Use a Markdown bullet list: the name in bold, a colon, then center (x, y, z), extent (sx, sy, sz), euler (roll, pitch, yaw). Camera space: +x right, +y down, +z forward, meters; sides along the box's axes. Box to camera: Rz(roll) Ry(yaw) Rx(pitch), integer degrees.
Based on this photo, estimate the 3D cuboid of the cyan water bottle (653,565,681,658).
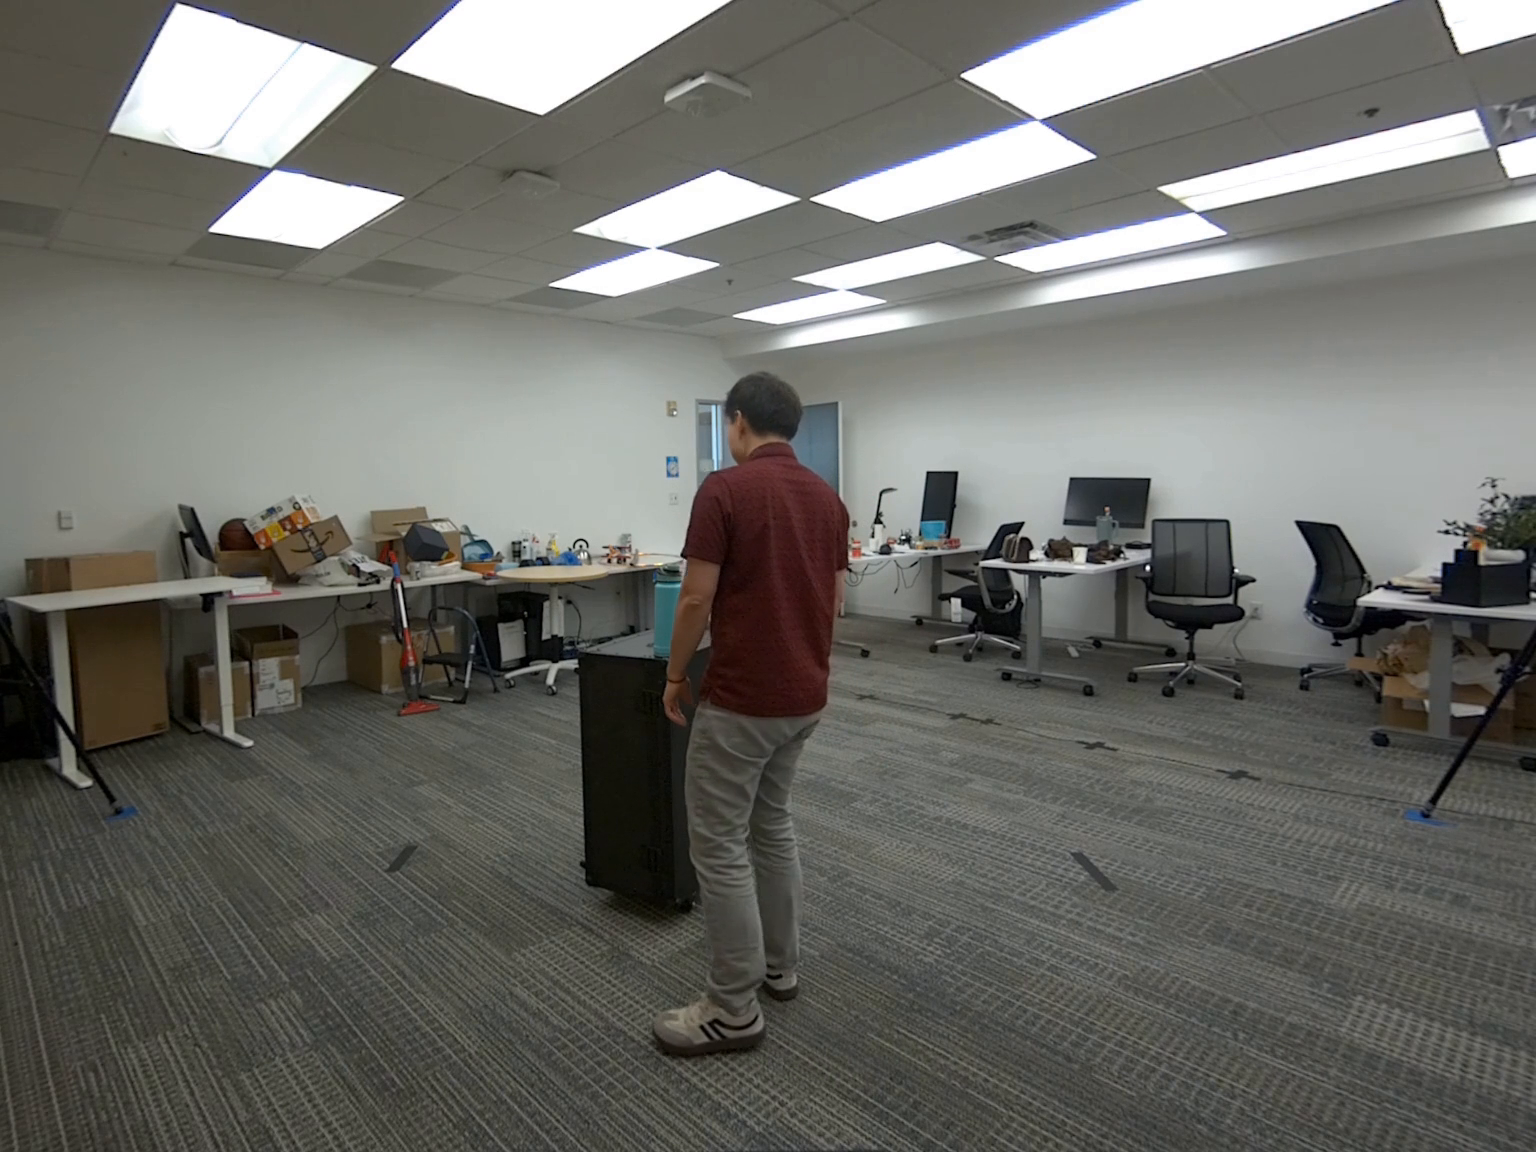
- **cyan water bottle**: center (-0.310, 0.104, 2.668), extent (0.092, 0.282, 0.093), euler (0, 5, -2)
